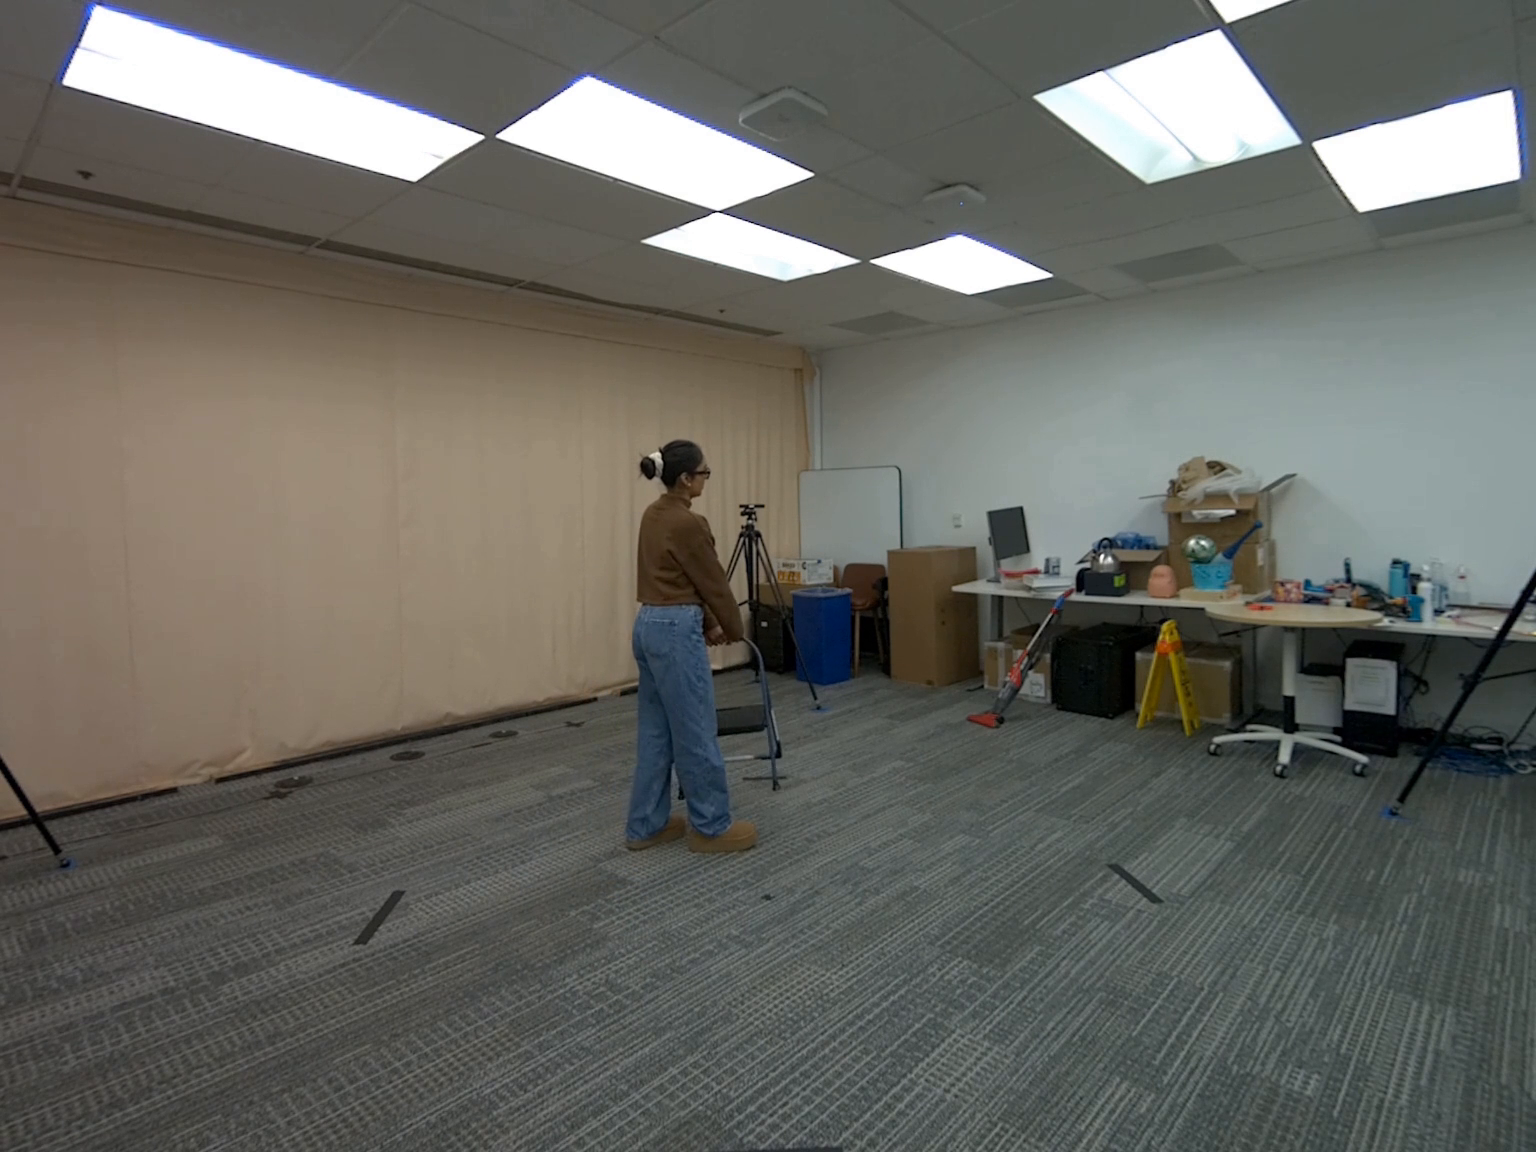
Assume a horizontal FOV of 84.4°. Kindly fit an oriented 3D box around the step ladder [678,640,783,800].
[{"bbox_3d":[-0.186,0.575,3.585,0.434,0.602,0.349,-8,9,7],"label":"step ladder"}]
